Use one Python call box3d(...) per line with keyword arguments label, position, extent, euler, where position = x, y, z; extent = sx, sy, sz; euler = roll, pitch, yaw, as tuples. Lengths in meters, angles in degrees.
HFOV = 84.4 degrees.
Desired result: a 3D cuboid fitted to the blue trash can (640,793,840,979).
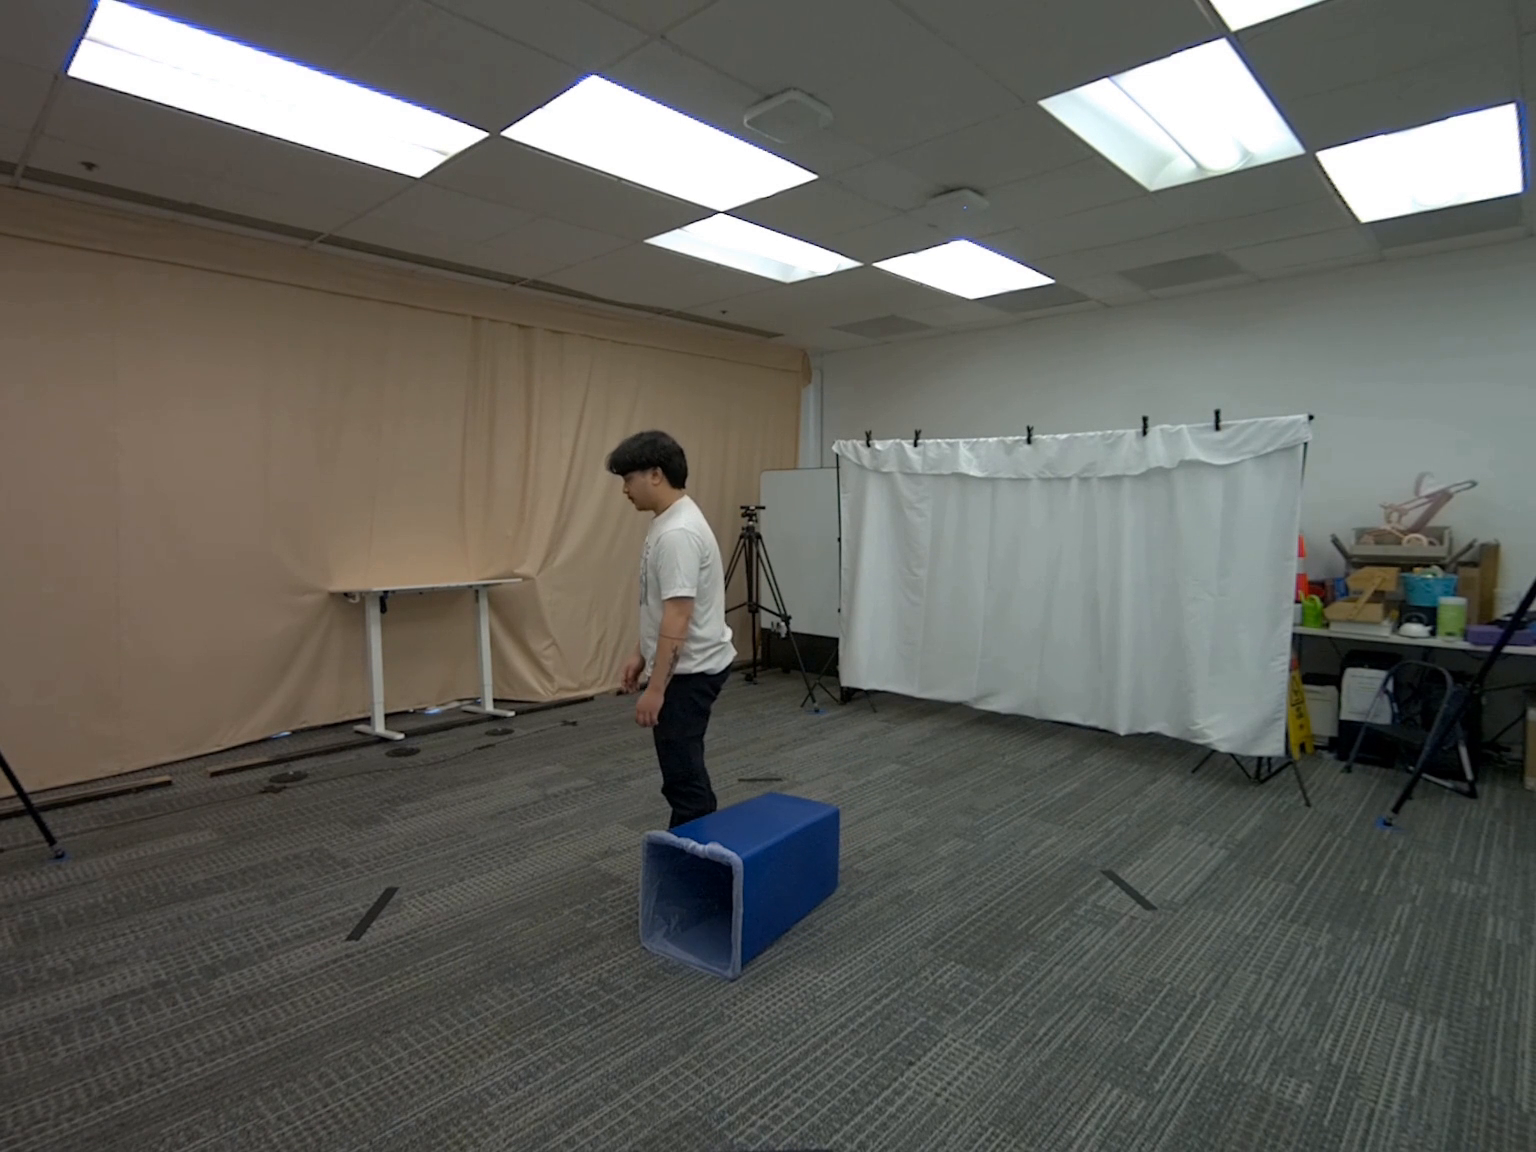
box3d(label="blue trash can", position=(-0.050, 0.993, 2.838), extent=(0.389, 0.374, 0.692), euler=(1, 1, 34))
